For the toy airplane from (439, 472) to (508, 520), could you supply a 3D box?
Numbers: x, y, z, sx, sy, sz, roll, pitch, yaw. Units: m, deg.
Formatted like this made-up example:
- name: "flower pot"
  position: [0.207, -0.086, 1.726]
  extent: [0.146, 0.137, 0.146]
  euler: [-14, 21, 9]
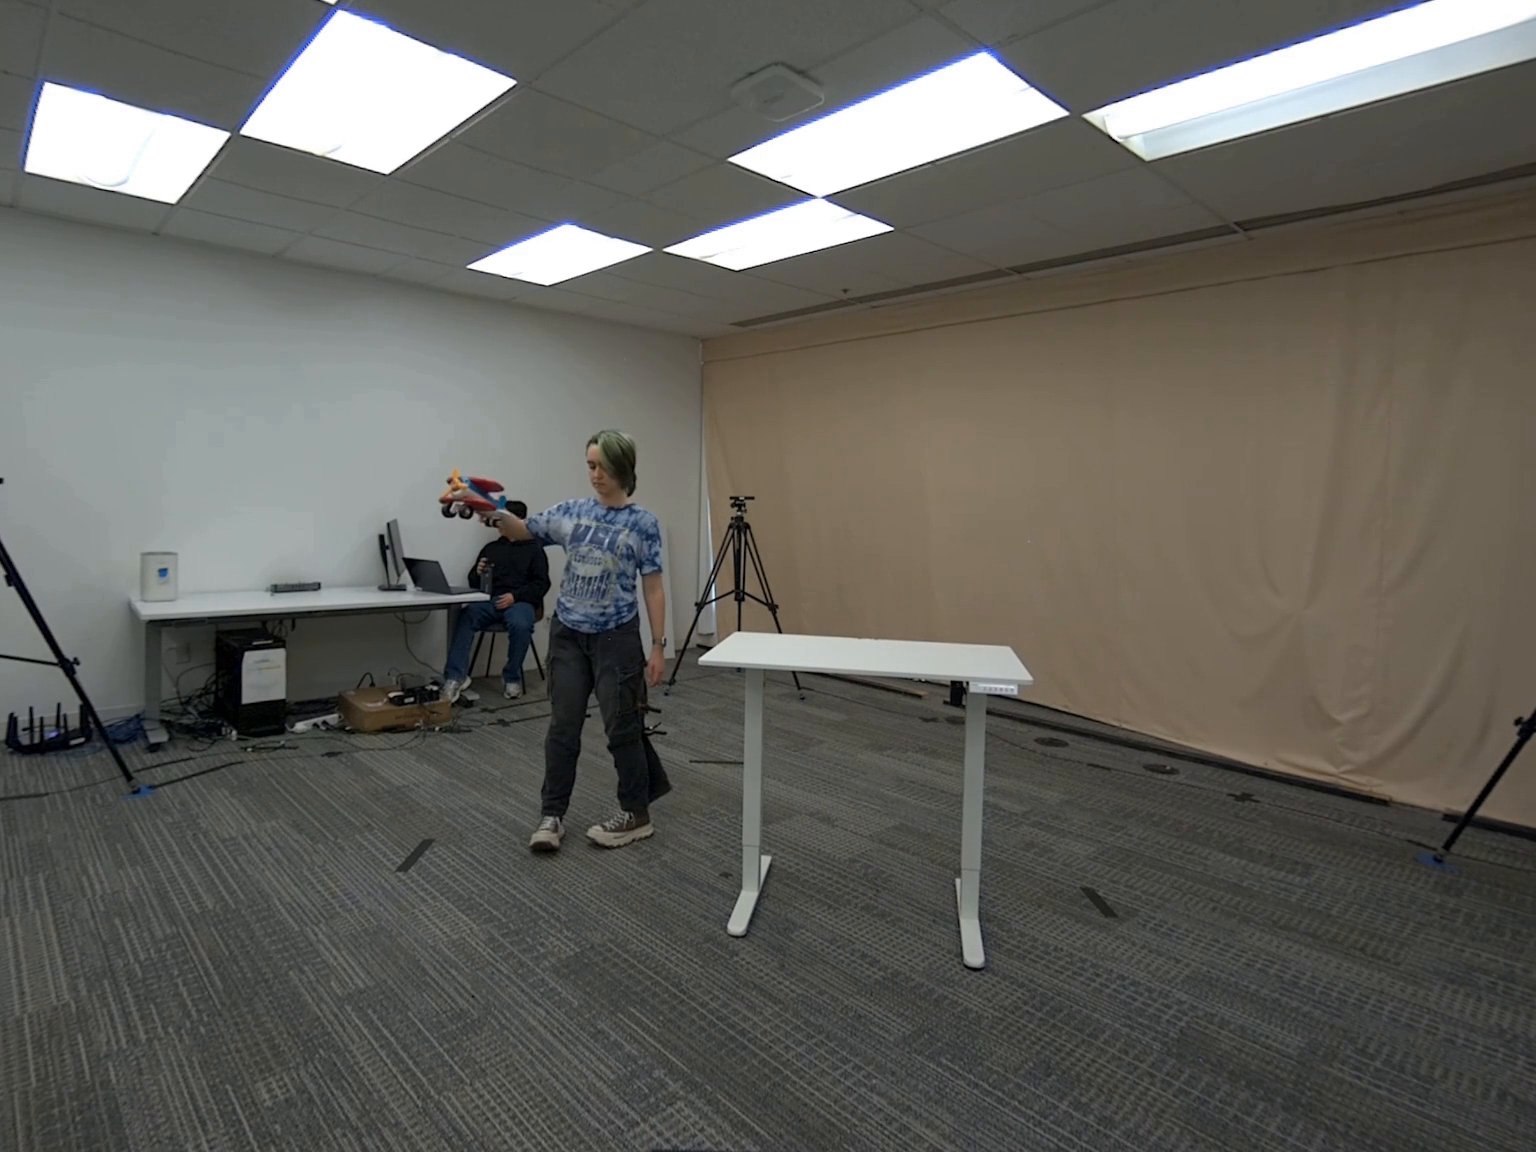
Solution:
- name: "toy airplane"
  position: [-1.079, -0.269, 3.078]
  extent: [0.251, 0.157, 0.258]
  euler: [8, -4, 1]
